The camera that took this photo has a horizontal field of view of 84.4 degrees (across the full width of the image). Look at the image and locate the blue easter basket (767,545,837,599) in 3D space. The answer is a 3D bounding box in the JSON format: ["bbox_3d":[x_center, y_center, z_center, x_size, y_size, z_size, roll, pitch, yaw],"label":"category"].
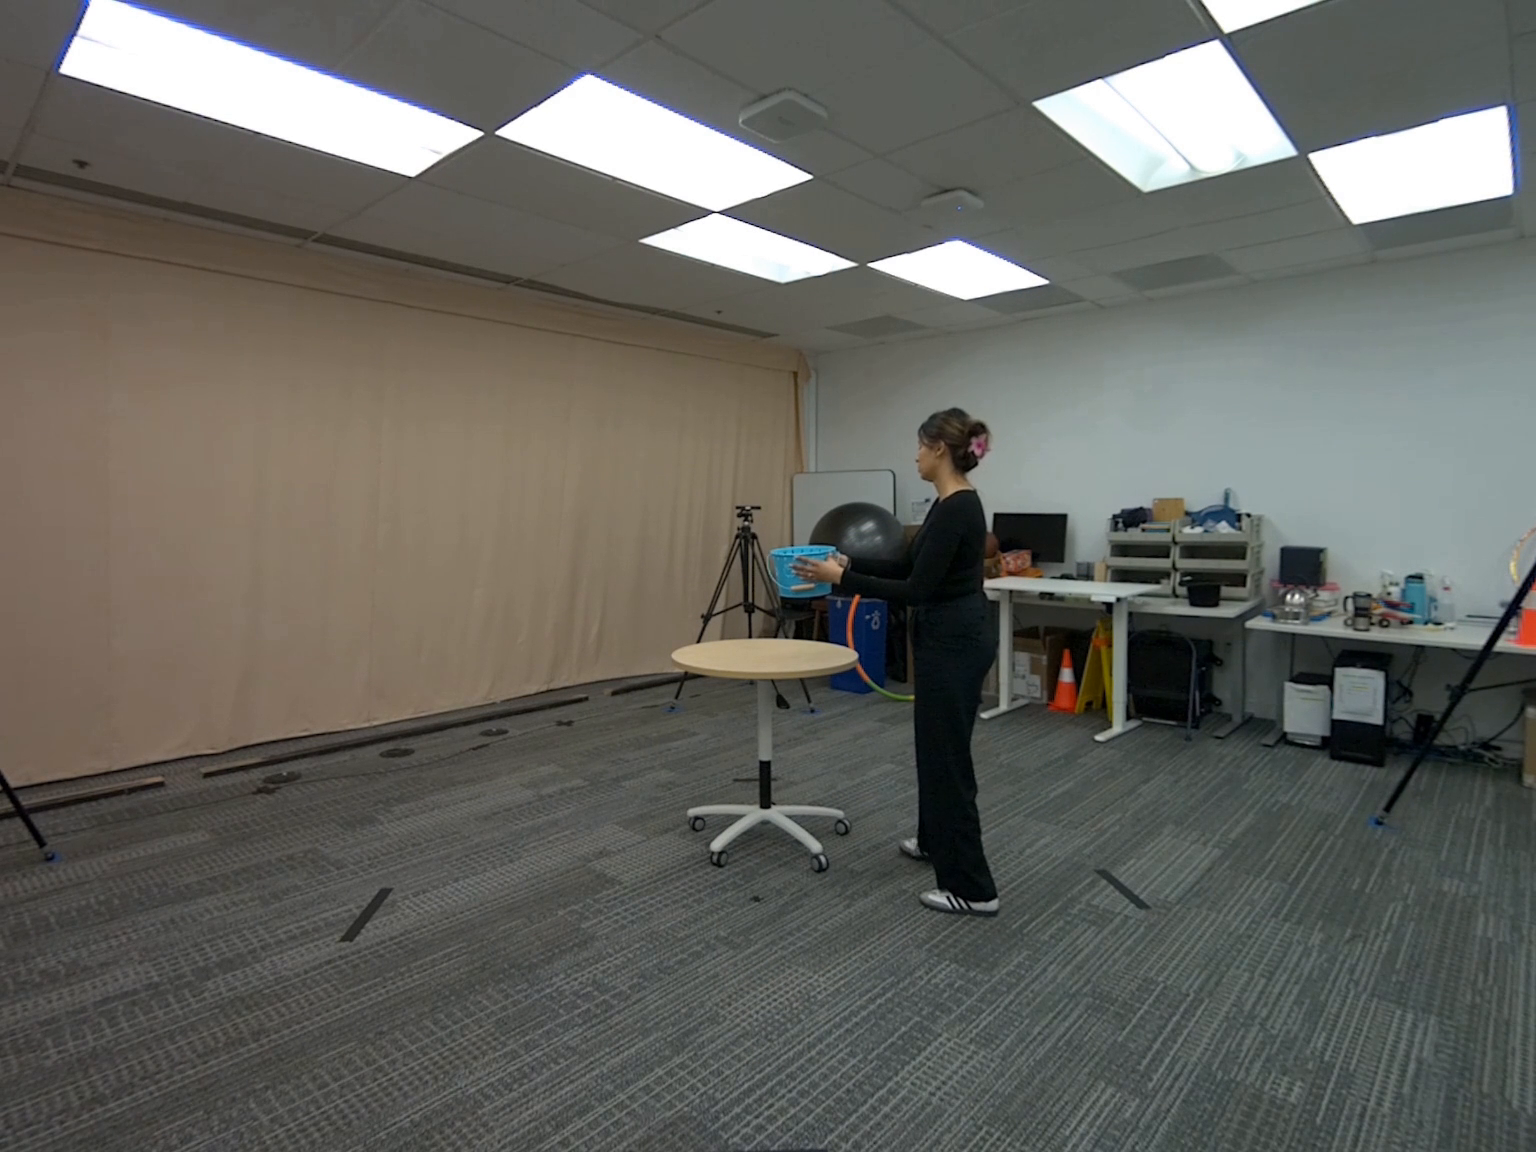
[{"bbox_3d":[0.138,-0.013,2.949,0.243,0.155,0.245,-4,6,-1],"label":"blue easter basket"}]
